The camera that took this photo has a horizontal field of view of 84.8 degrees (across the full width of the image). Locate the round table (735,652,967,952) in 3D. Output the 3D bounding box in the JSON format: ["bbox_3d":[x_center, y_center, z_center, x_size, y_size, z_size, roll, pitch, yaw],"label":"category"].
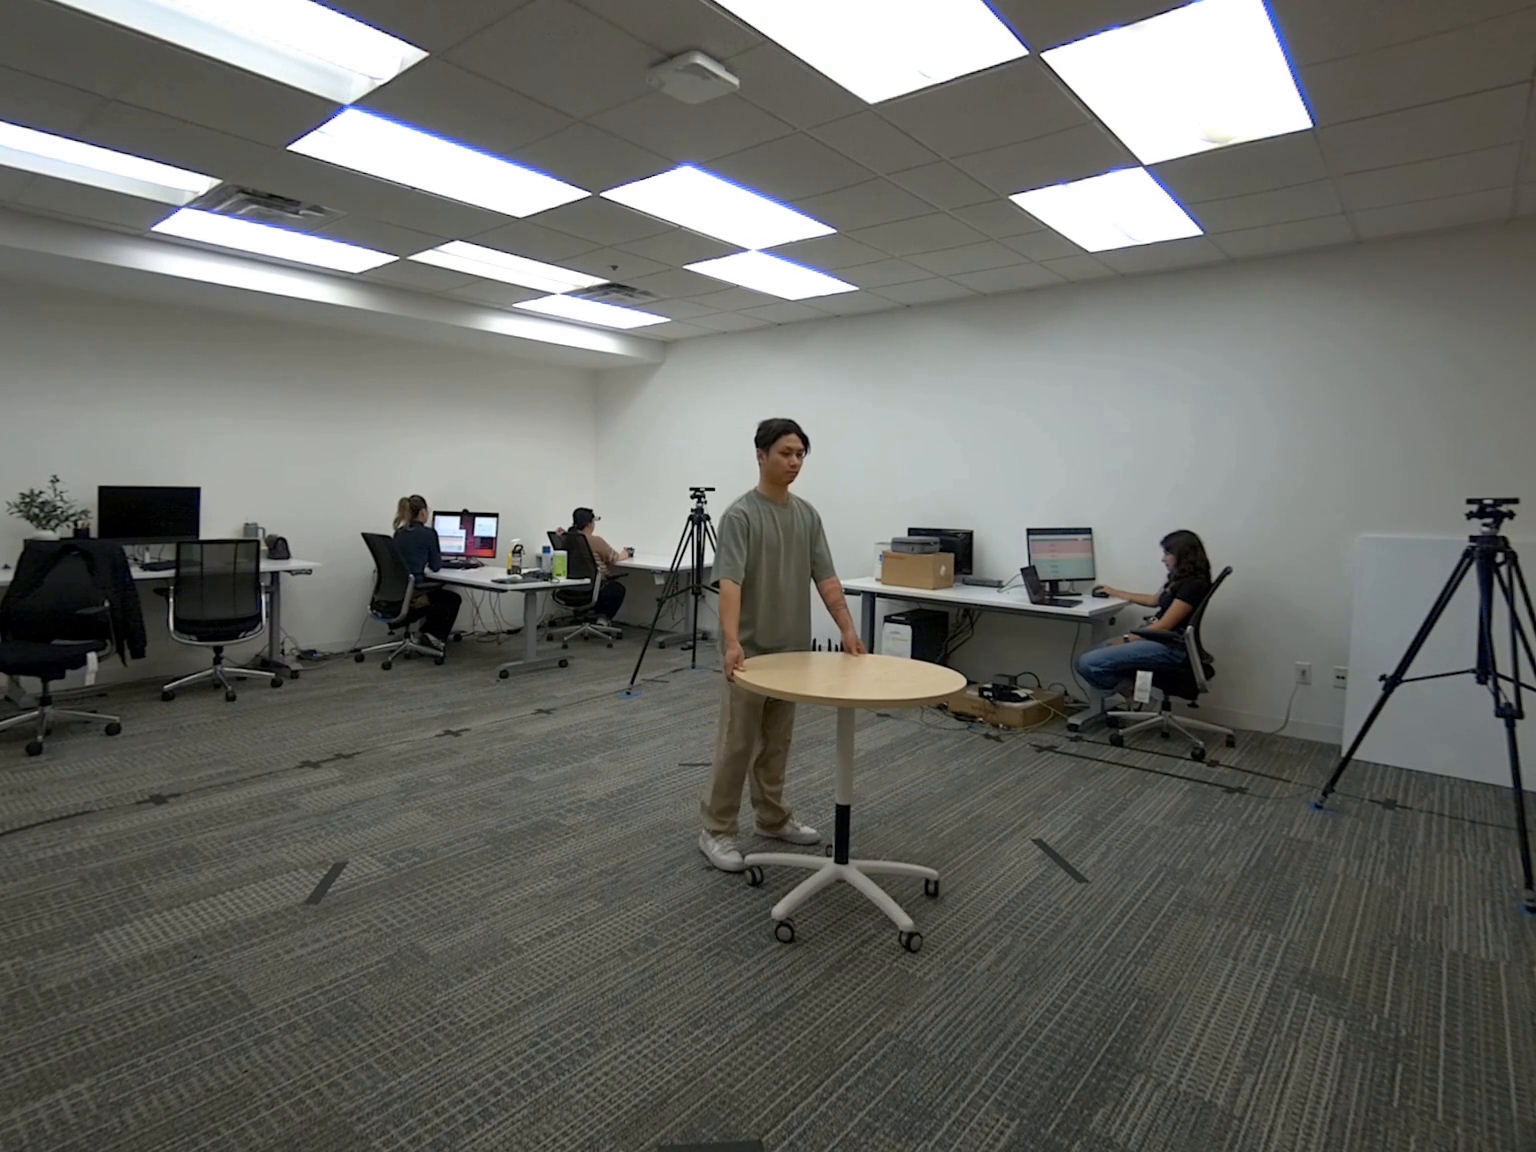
[{"bbox_3d":[0.255,0.707,2.843,0.784,0.785,0.788,1,3,-2],"label":"round table"}]
